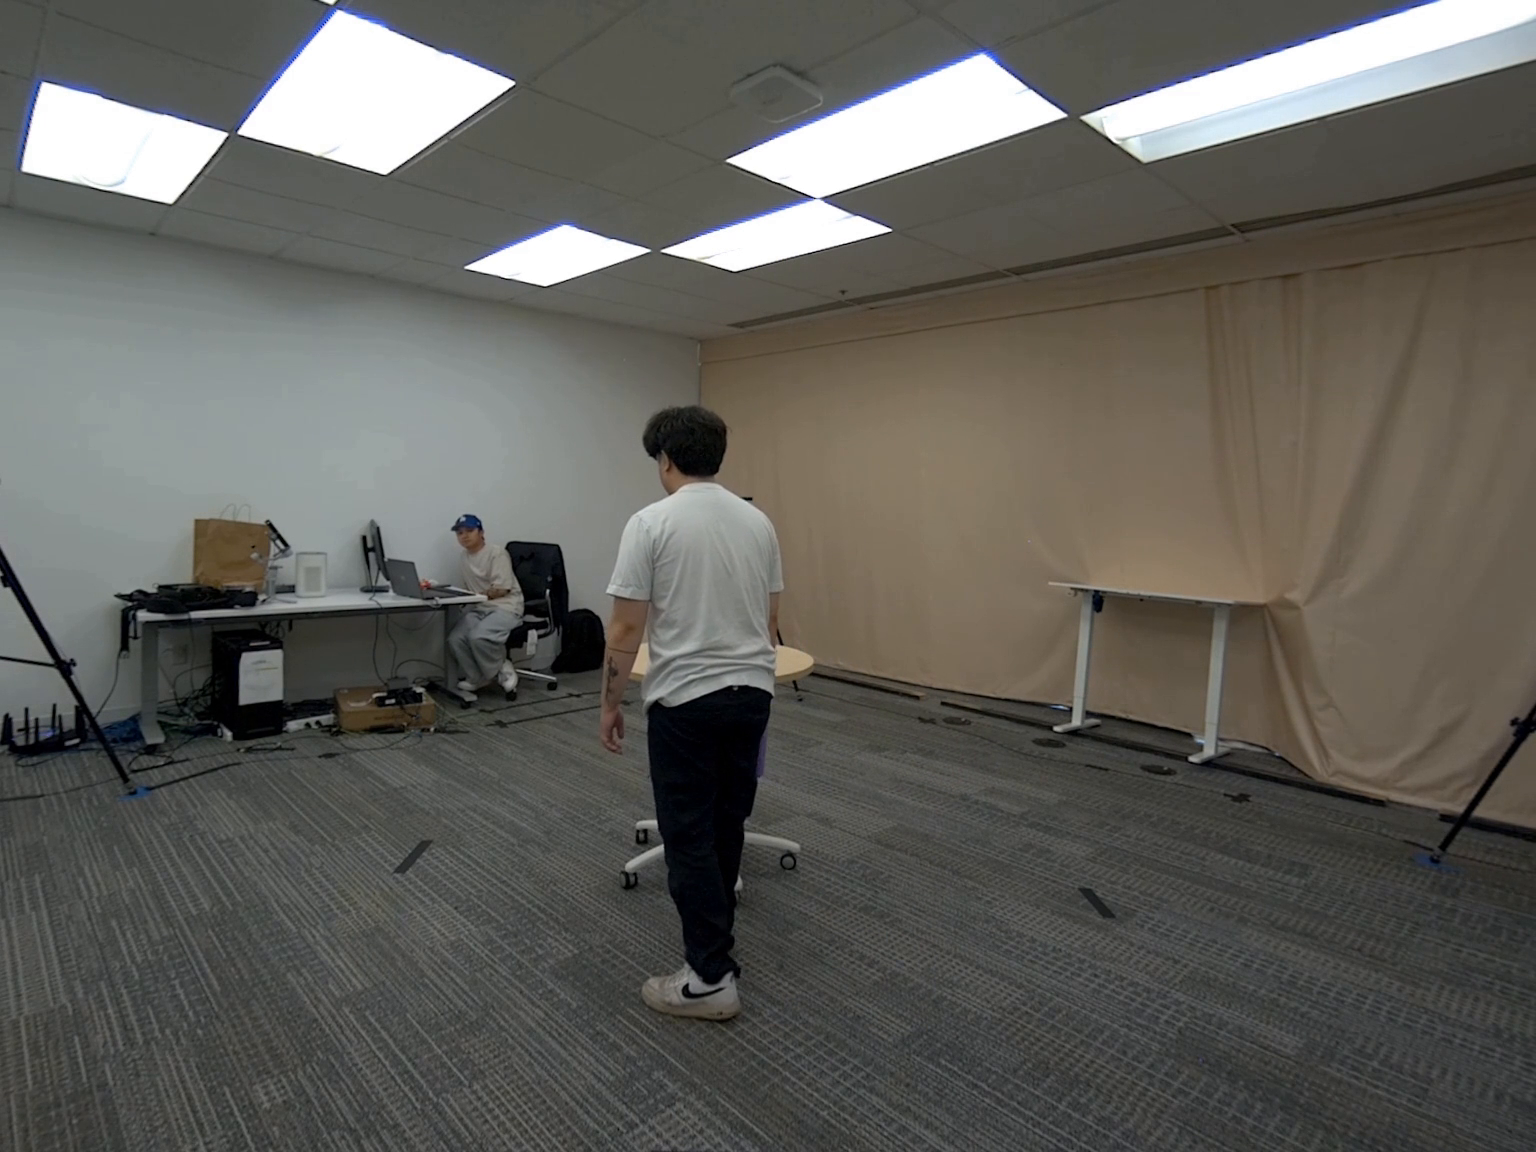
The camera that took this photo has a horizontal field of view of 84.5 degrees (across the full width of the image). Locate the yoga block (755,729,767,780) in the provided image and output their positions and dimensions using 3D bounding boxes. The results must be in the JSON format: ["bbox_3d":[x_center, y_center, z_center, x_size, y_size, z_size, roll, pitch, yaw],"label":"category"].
[{"bbox_3d":[-0.097,0.524,2.665,0.150,0.230,0.076,5,-3,8],"label":"yoga block"}]
